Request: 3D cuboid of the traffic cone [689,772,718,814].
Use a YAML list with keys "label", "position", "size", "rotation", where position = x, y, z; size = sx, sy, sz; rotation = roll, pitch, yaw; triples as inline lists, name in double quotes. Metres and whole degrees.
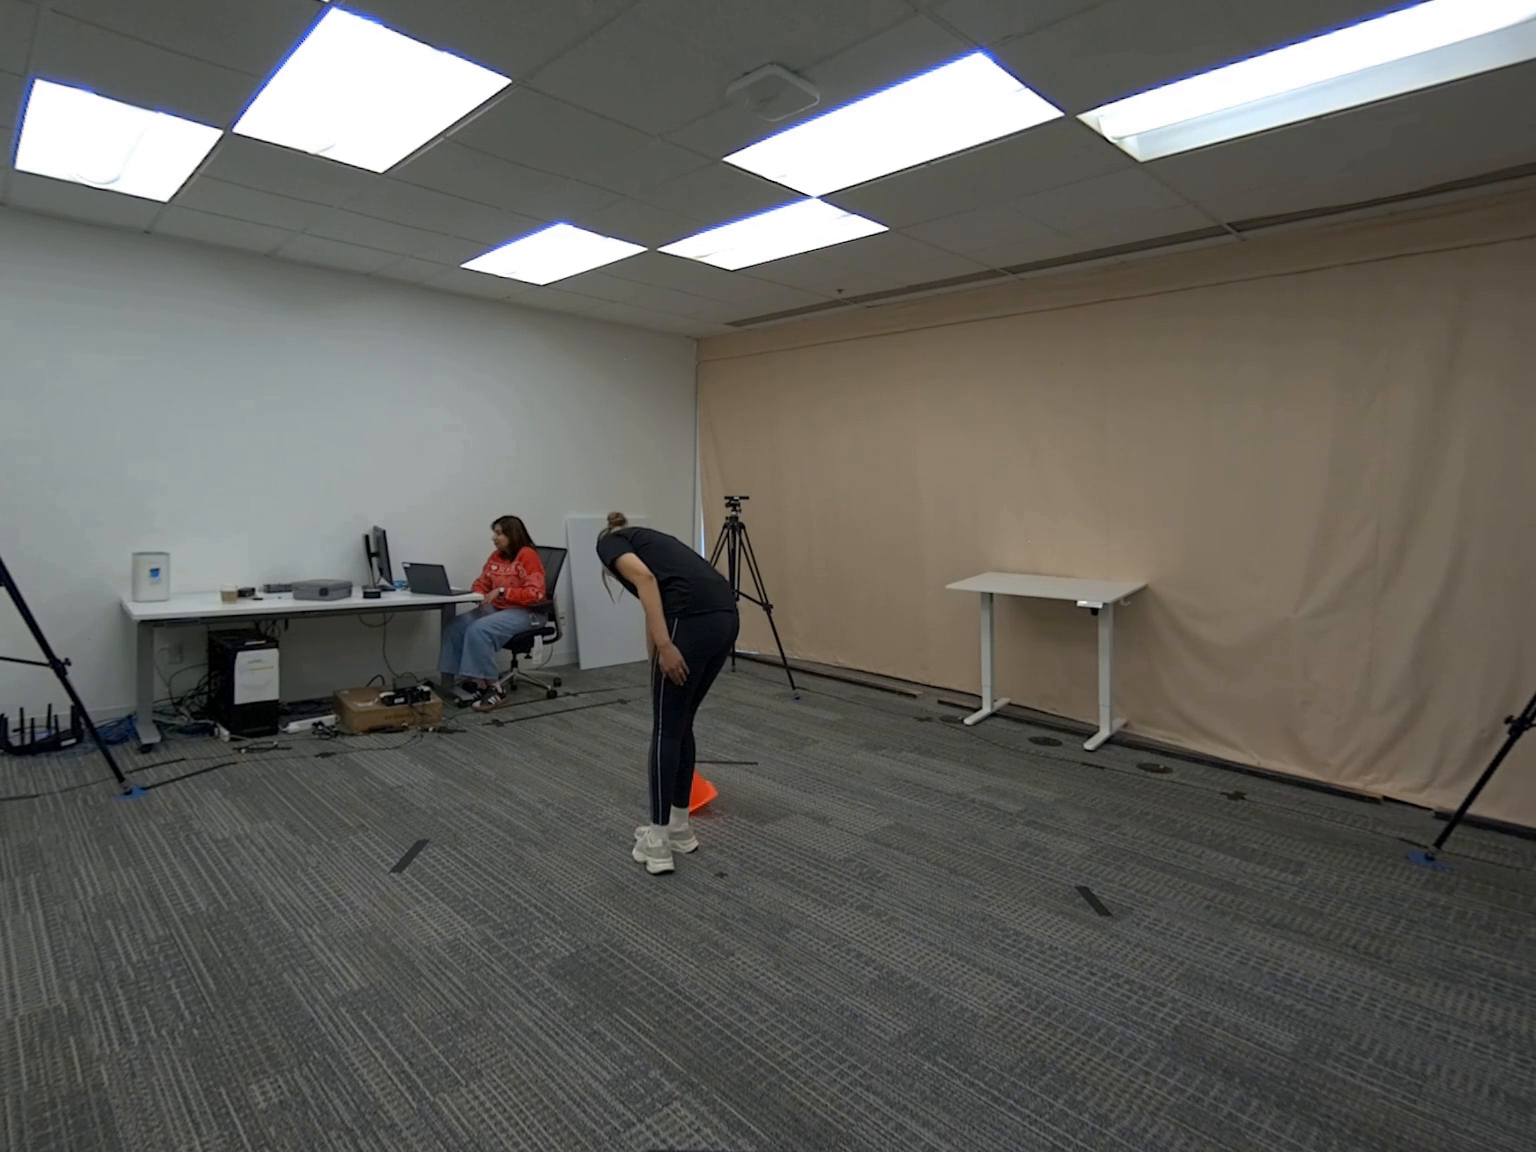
- label: "traffic cone"
  position: [-0.422, 0.839, 3.729]
  size: [0.204, 0.380, 0.206]
  rotation: [-27, 10, -13]
